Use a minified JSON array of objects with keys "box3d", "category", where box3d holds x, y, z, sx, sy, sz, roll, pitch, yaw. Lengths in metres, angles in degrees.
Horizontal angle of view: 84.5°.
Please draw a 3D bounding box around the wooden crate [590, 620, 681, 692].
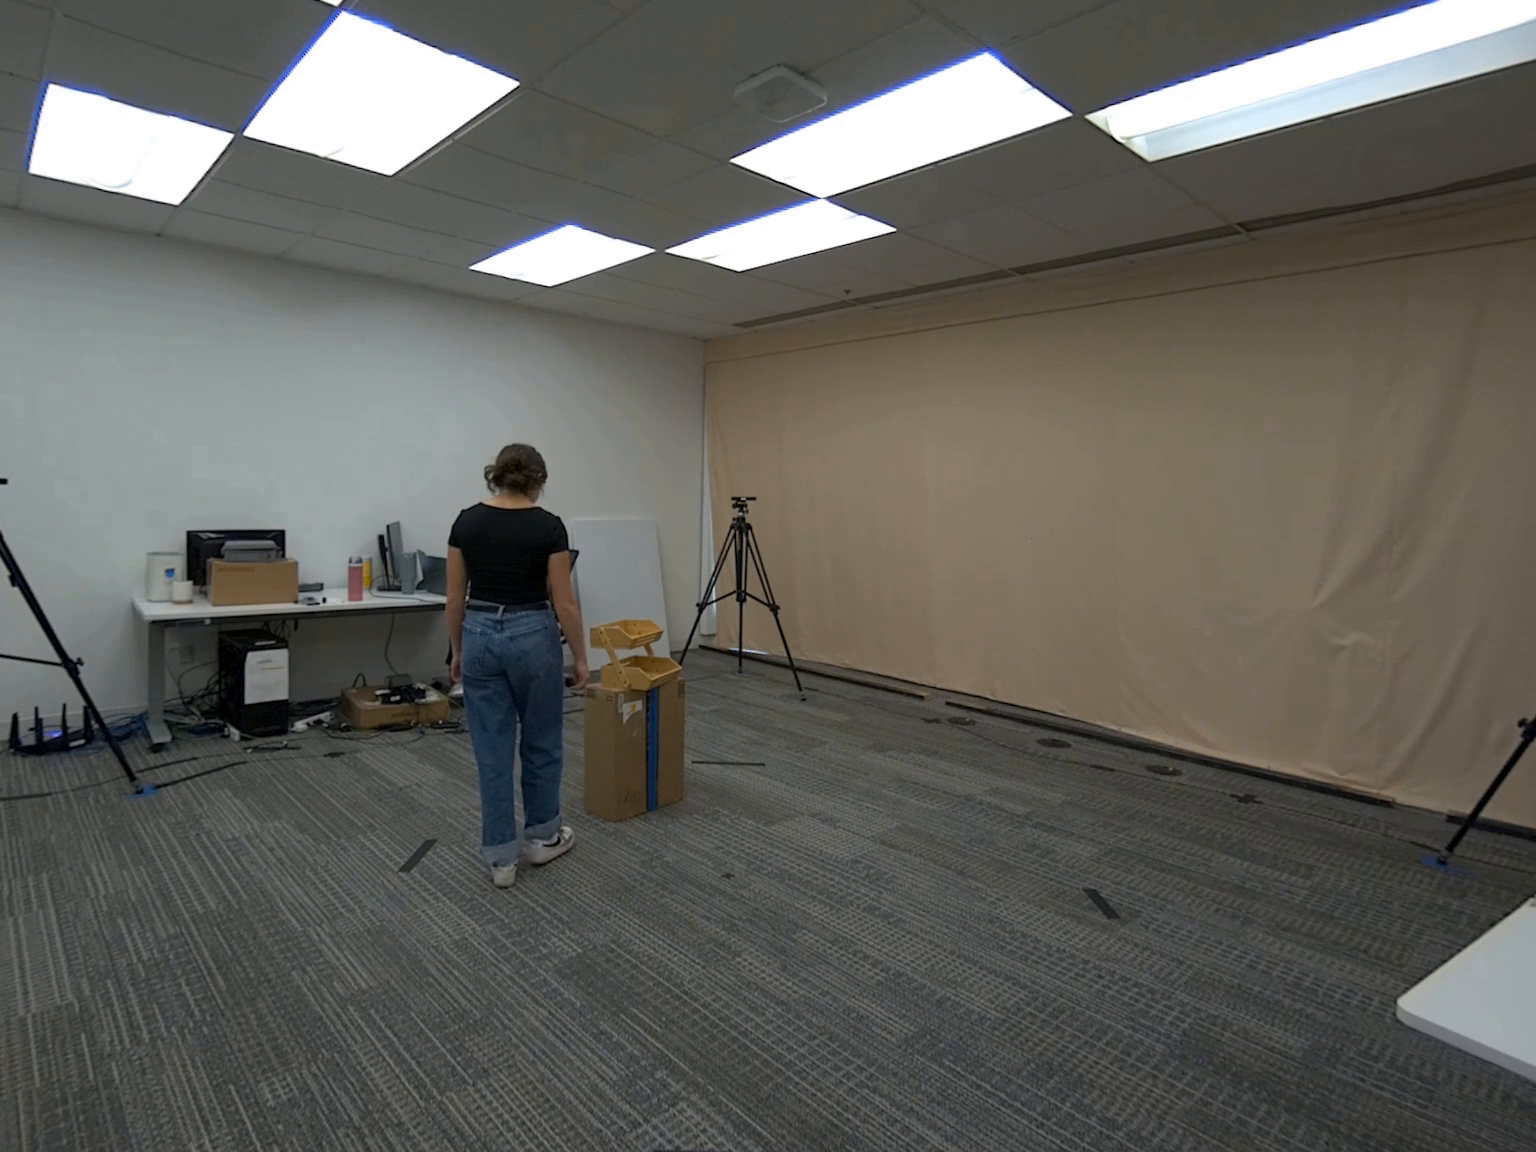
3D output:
[{"box3d":[-0.579,0.339,3.765,0.307,0.273,0.320,0,3,21],"category":"wooden crate"}]
